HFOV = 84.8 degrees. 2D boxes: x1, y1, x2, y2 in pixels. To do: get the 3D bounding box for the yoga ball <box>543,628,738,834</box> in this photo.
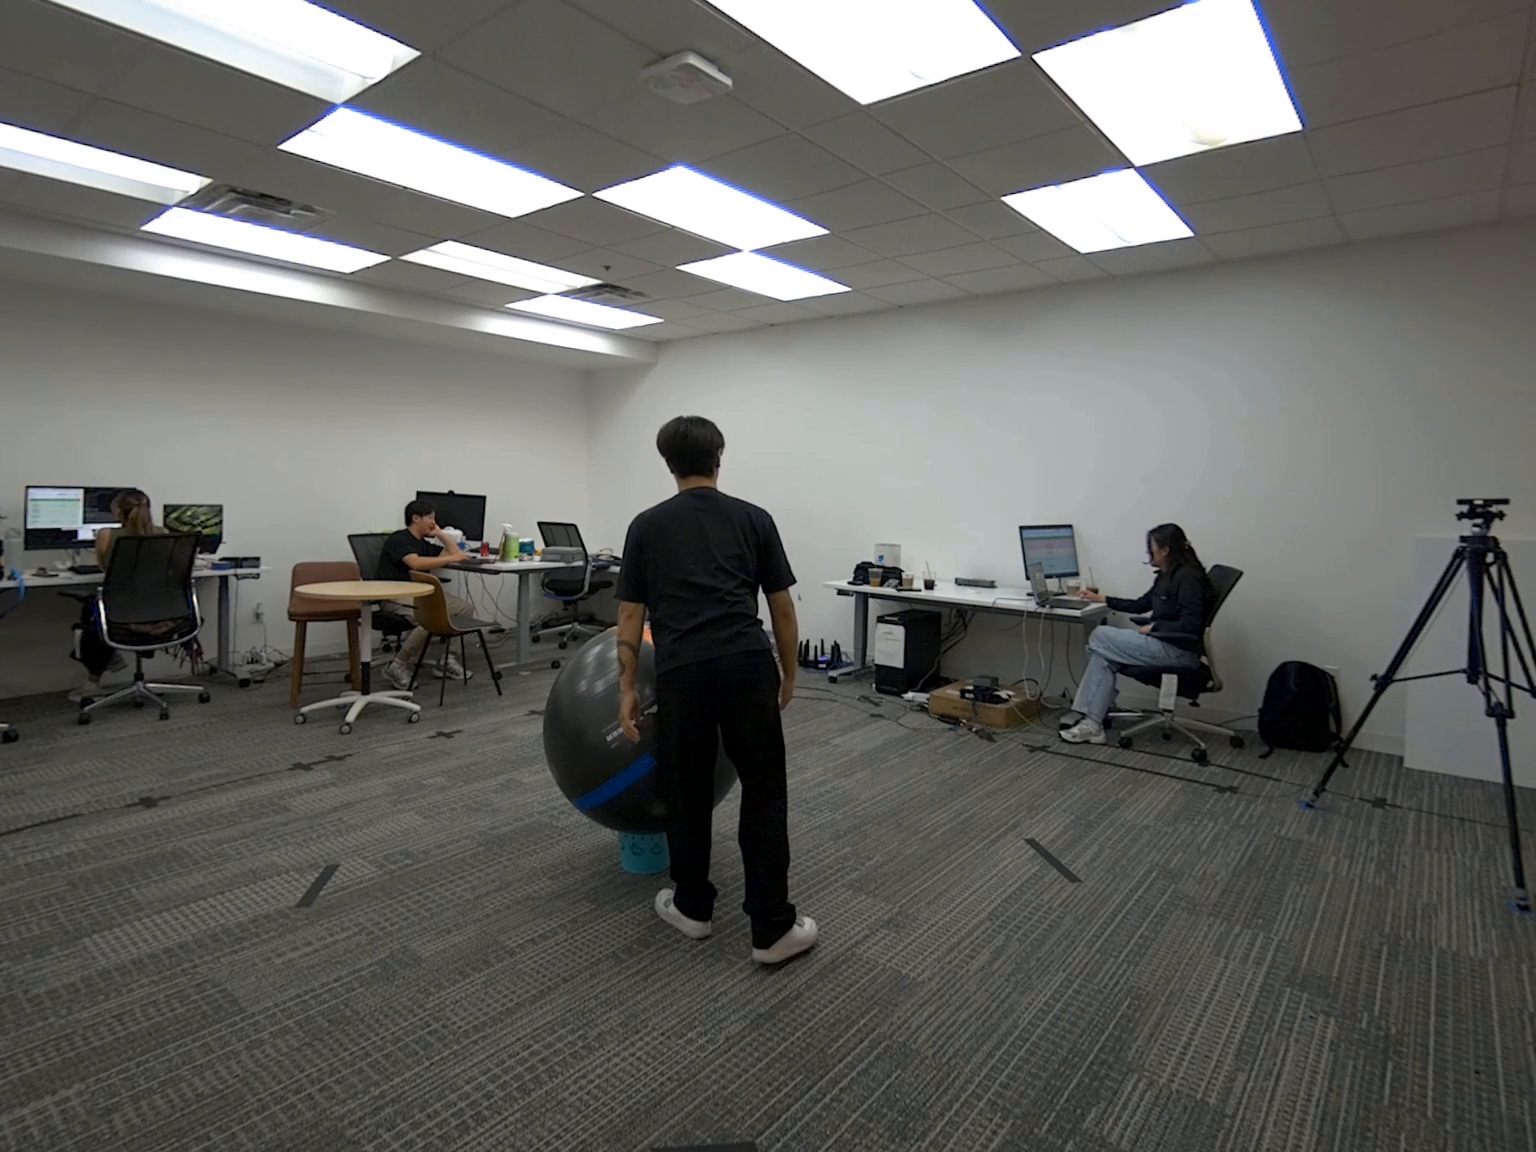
[{"bbox_3d":[-0.462,0.552,3.130,0.757,0.755,0.762,1,4,-2],"label":"yoga ball"}]
